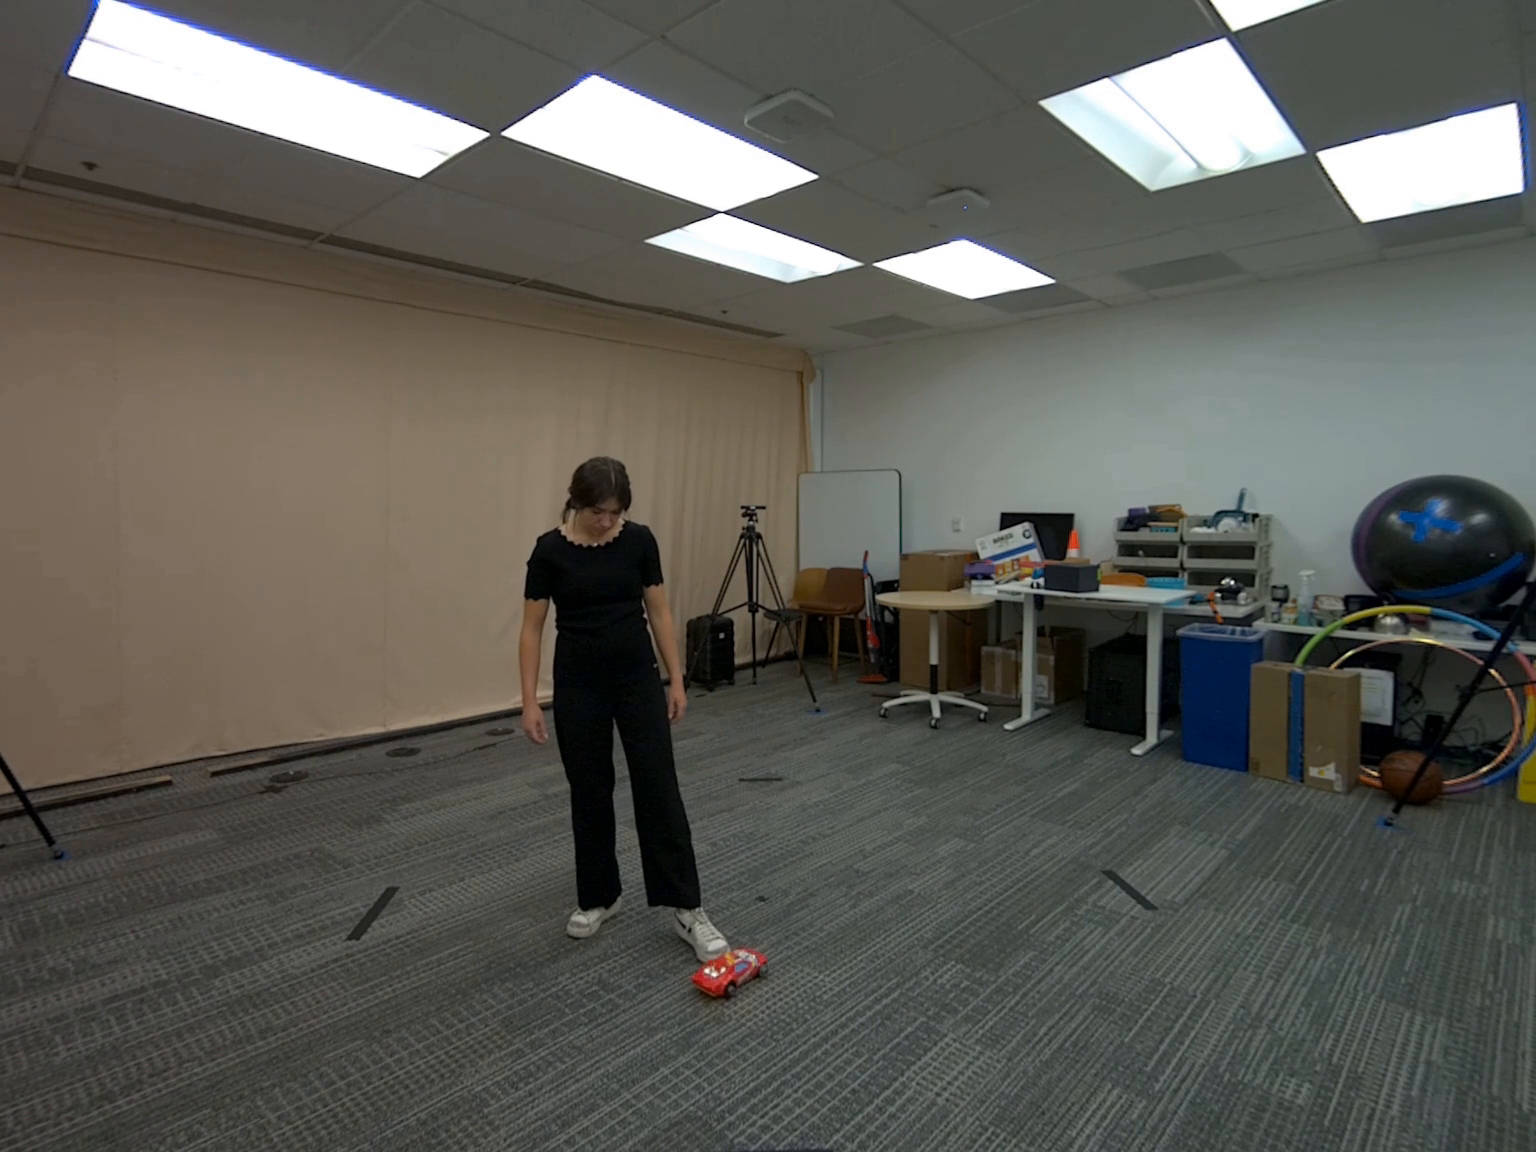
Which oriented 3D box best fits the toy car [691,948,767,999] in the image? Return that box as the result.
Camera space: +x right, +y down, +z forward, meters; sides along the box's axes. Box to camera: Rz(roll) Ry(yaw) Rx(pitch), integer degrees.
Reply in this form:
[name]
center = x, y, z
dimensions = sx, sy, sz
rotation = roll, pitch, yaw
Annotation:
[toy car]
center = -0.116, 1.157, 2.449
dimensions = 0.135, 0.083, 0.246
rotation = 5, -4, 43
